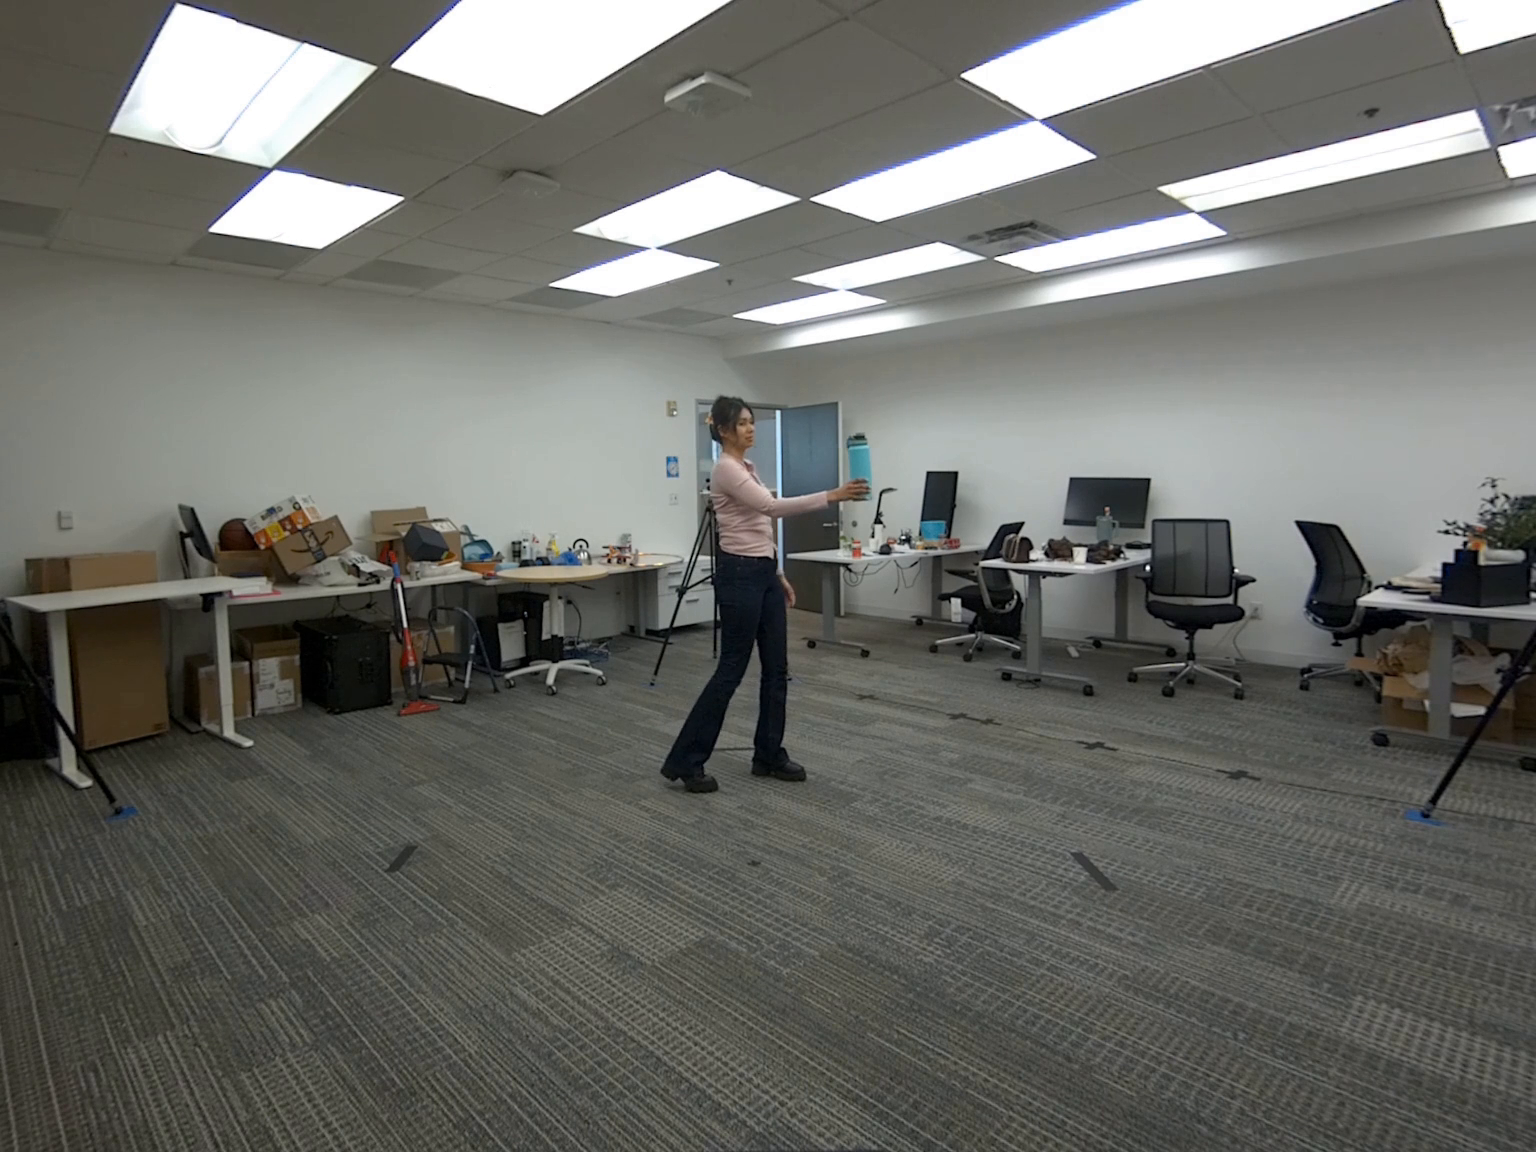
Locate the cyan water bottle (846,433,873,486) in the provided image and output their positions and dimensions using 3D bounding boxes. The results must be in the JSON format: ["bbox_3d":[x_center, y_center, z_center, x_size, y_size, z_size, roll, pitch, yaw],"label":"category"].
[{"bbox_3d":[0.380,-0.458,3.549,0.092,0.282,0.093,-6,5,-1],"label":"cyan water bottle"}]
